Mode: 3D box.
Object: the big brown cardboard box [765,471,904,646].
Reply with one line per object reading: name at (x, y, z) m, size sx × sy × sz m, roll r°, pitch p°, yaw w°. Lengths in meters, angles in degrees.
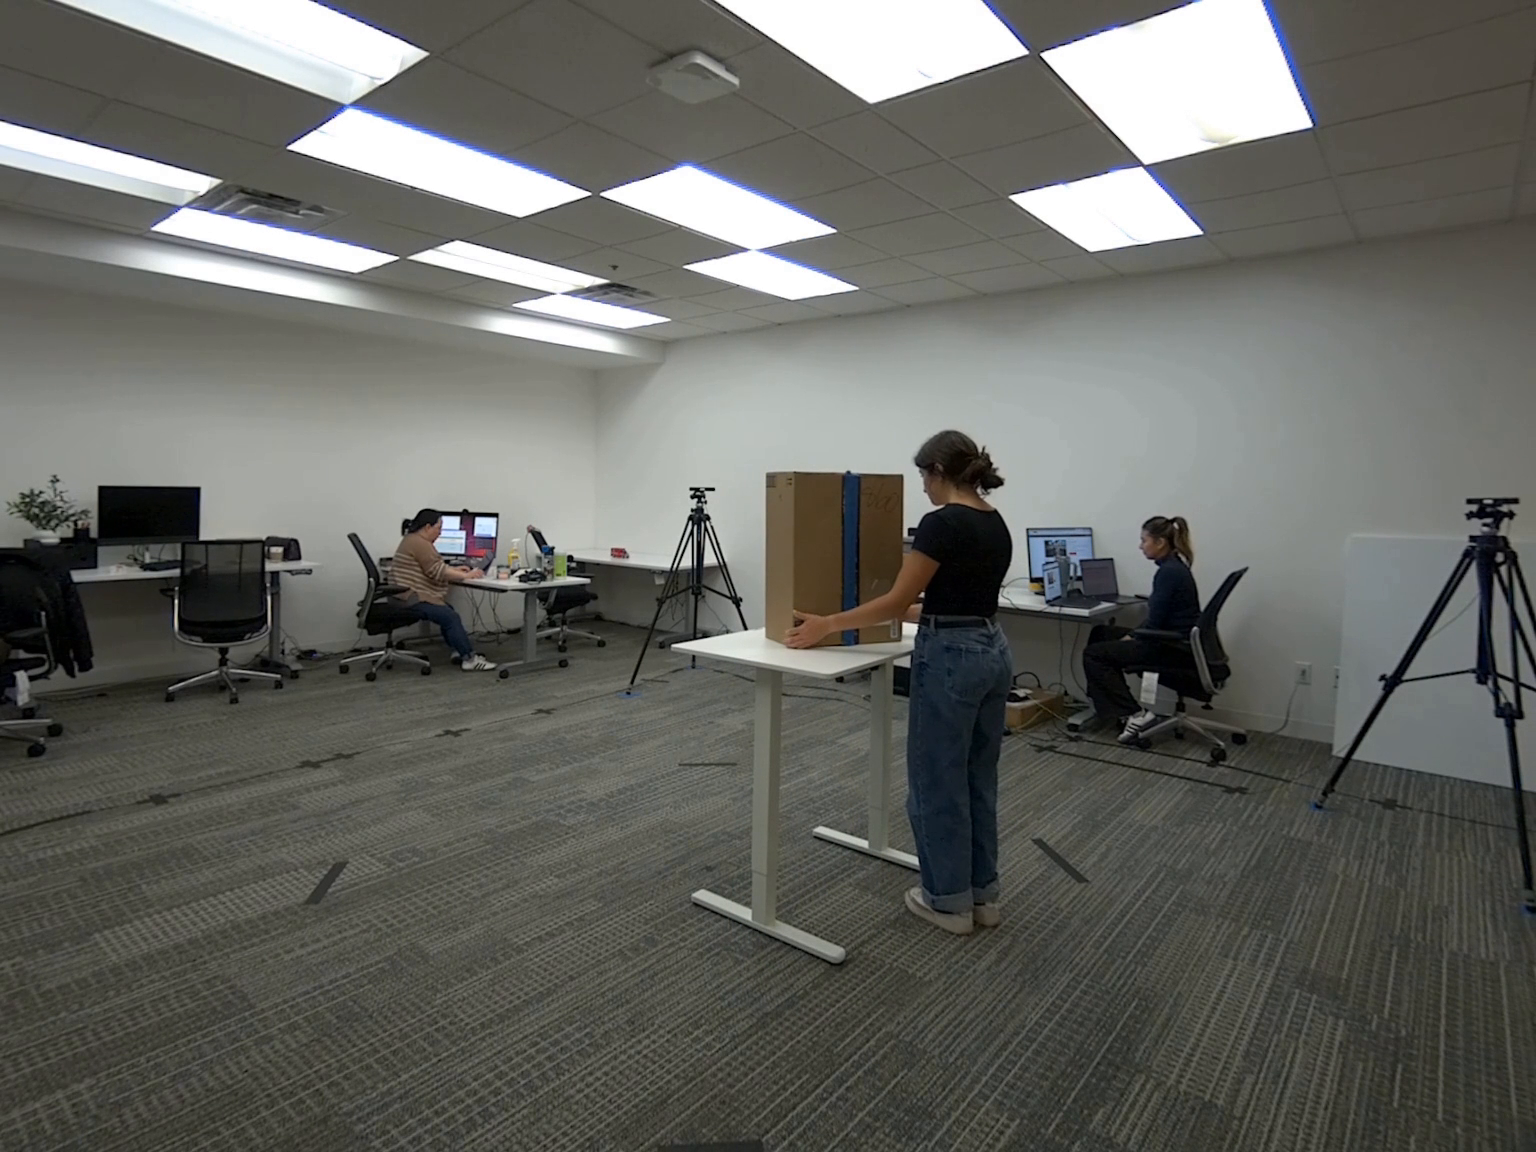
big brown cardboard box at (0.213, -0.067, 2.883) m, size 0.409 × 0.588 × 0.239 m, roll -1°, pitch 3°, yaw -22°
